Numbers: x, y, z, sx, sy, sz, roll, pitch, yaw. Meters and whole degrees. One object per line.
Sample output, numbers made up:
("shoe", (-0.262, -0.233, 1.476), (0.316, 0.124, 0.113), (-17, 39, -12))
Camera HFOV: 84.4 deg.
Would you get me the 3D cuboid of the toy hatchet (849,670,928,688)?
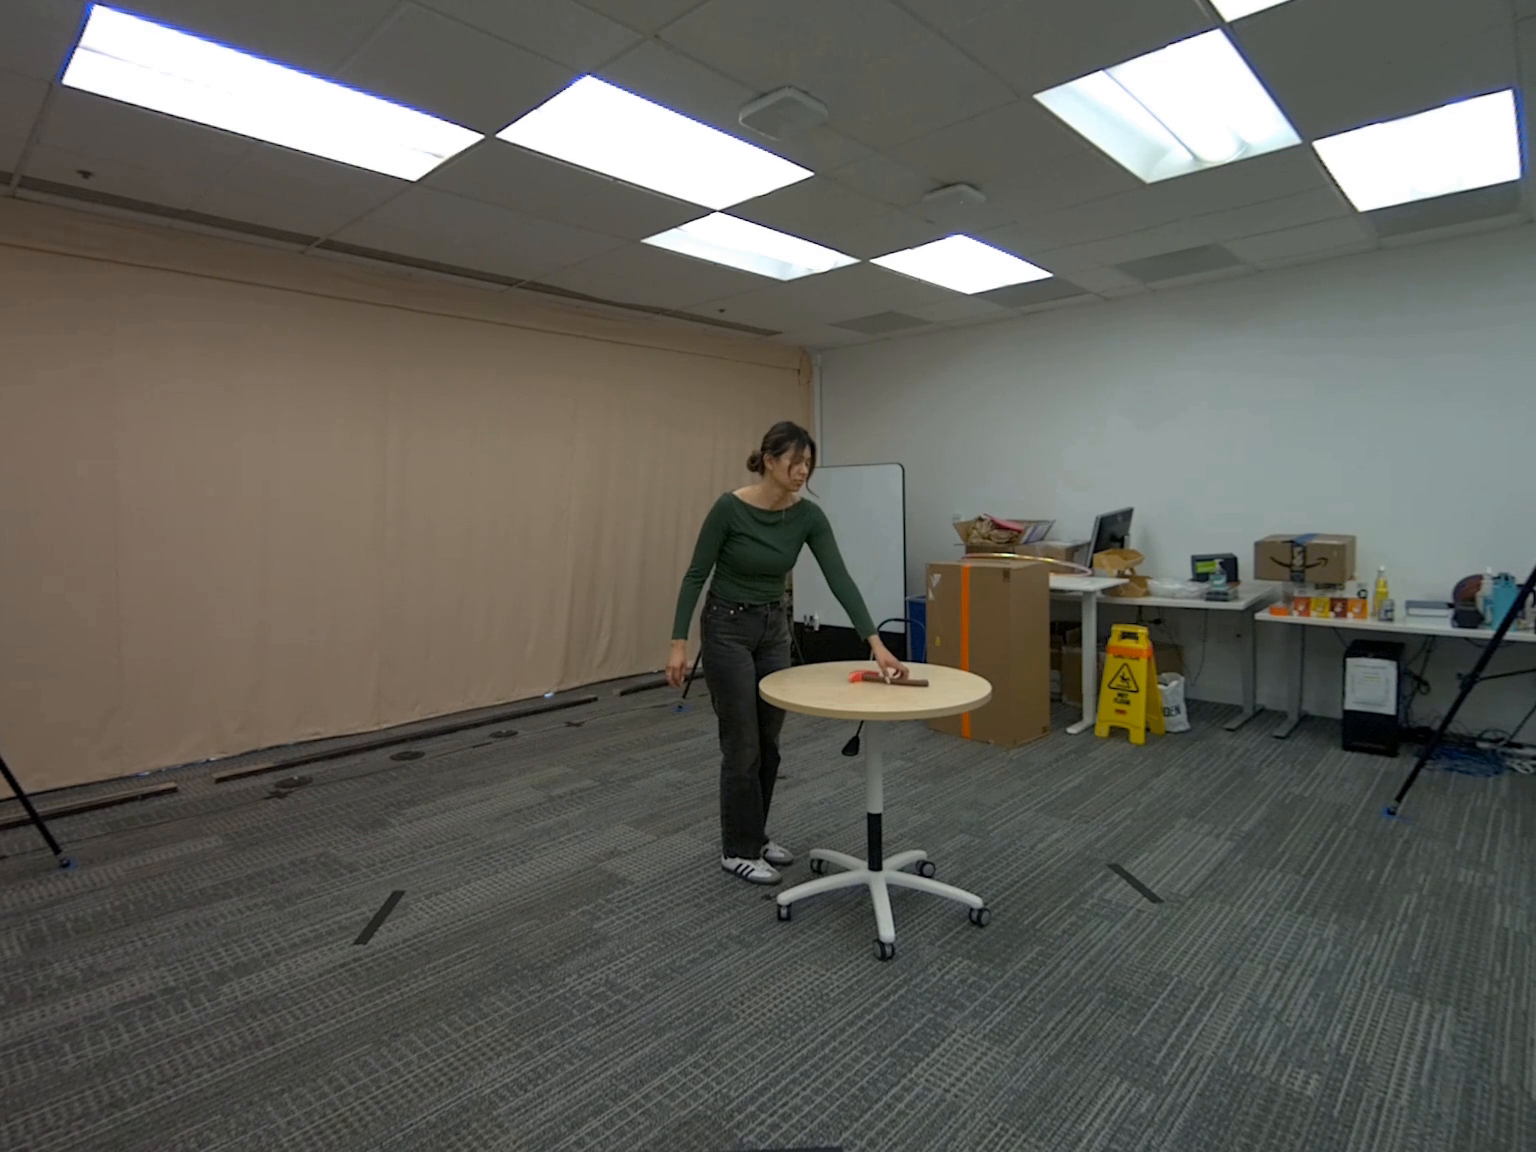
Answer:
("toy hatchet", (0.427, 0.348, 2.856), (0.275, 0.029, 0.129), (1, 8, 18))
